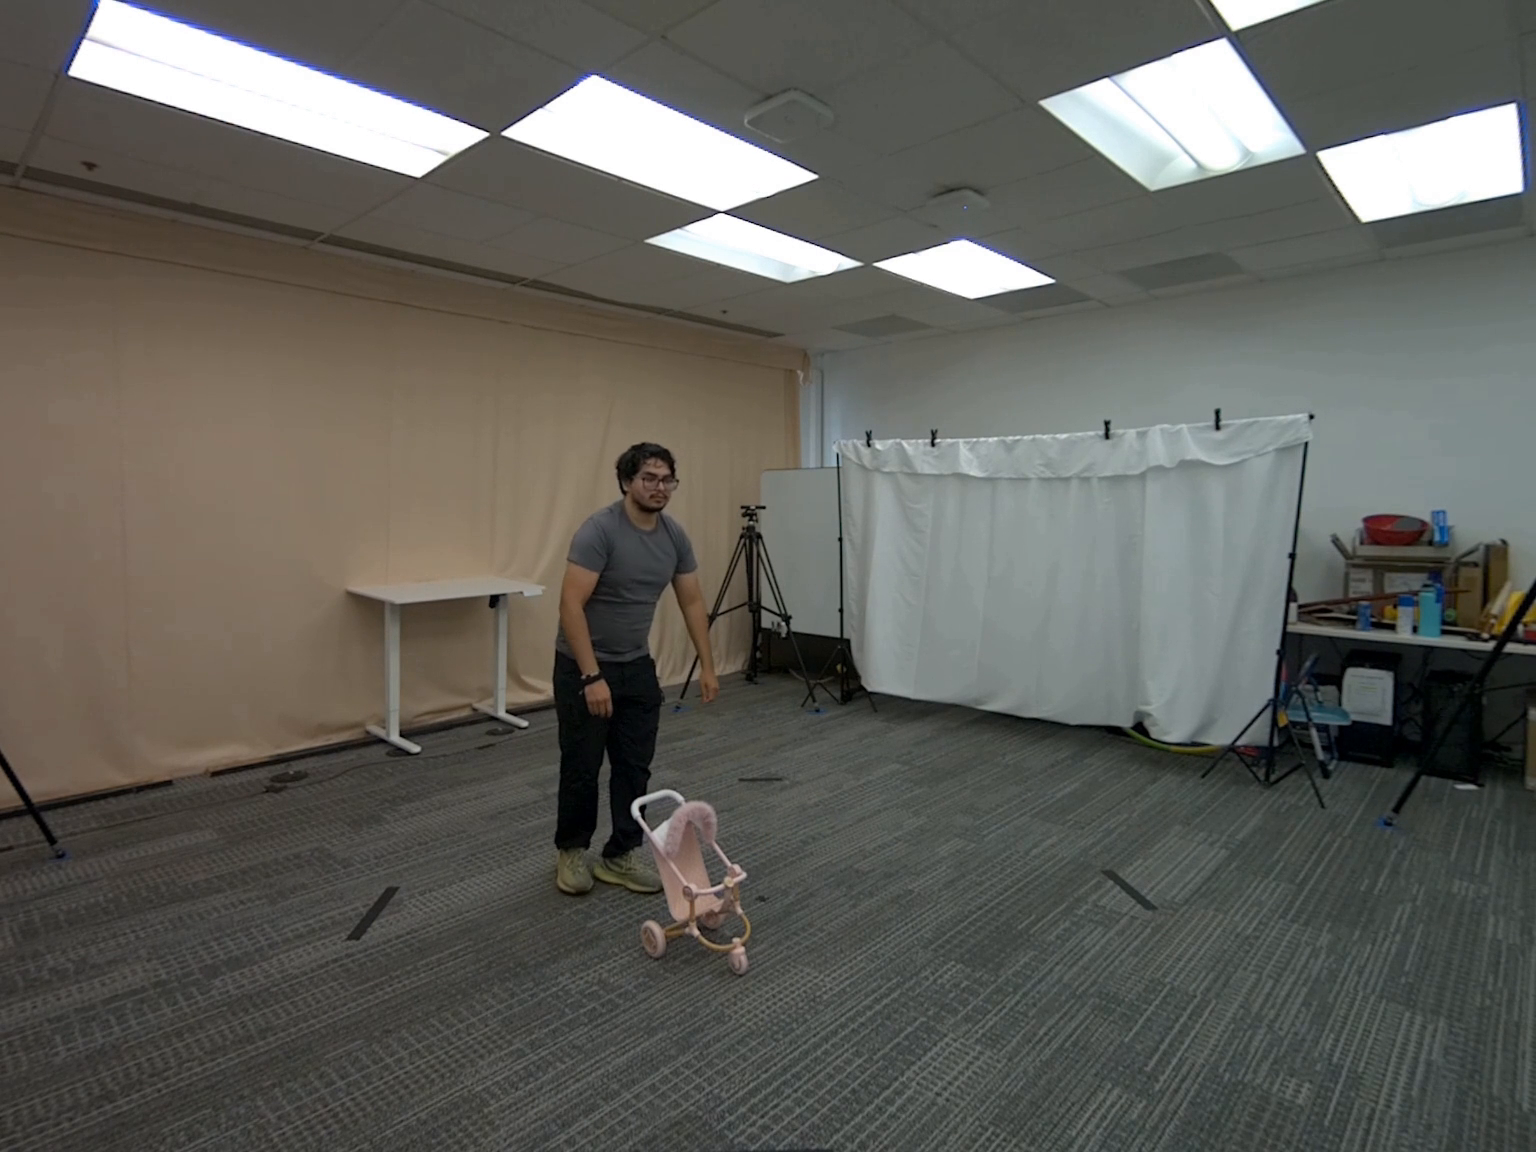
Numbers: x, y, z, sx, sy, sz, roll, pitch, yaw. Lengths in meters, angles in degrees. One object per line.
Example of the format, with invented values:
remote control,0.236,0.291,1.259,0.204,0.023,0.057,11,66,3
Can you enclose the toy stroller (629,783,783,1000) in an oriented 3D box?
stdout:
toy stroller,-0.223,0.946,2.629,0.273,0.538,0.349,-4,-10,-41
